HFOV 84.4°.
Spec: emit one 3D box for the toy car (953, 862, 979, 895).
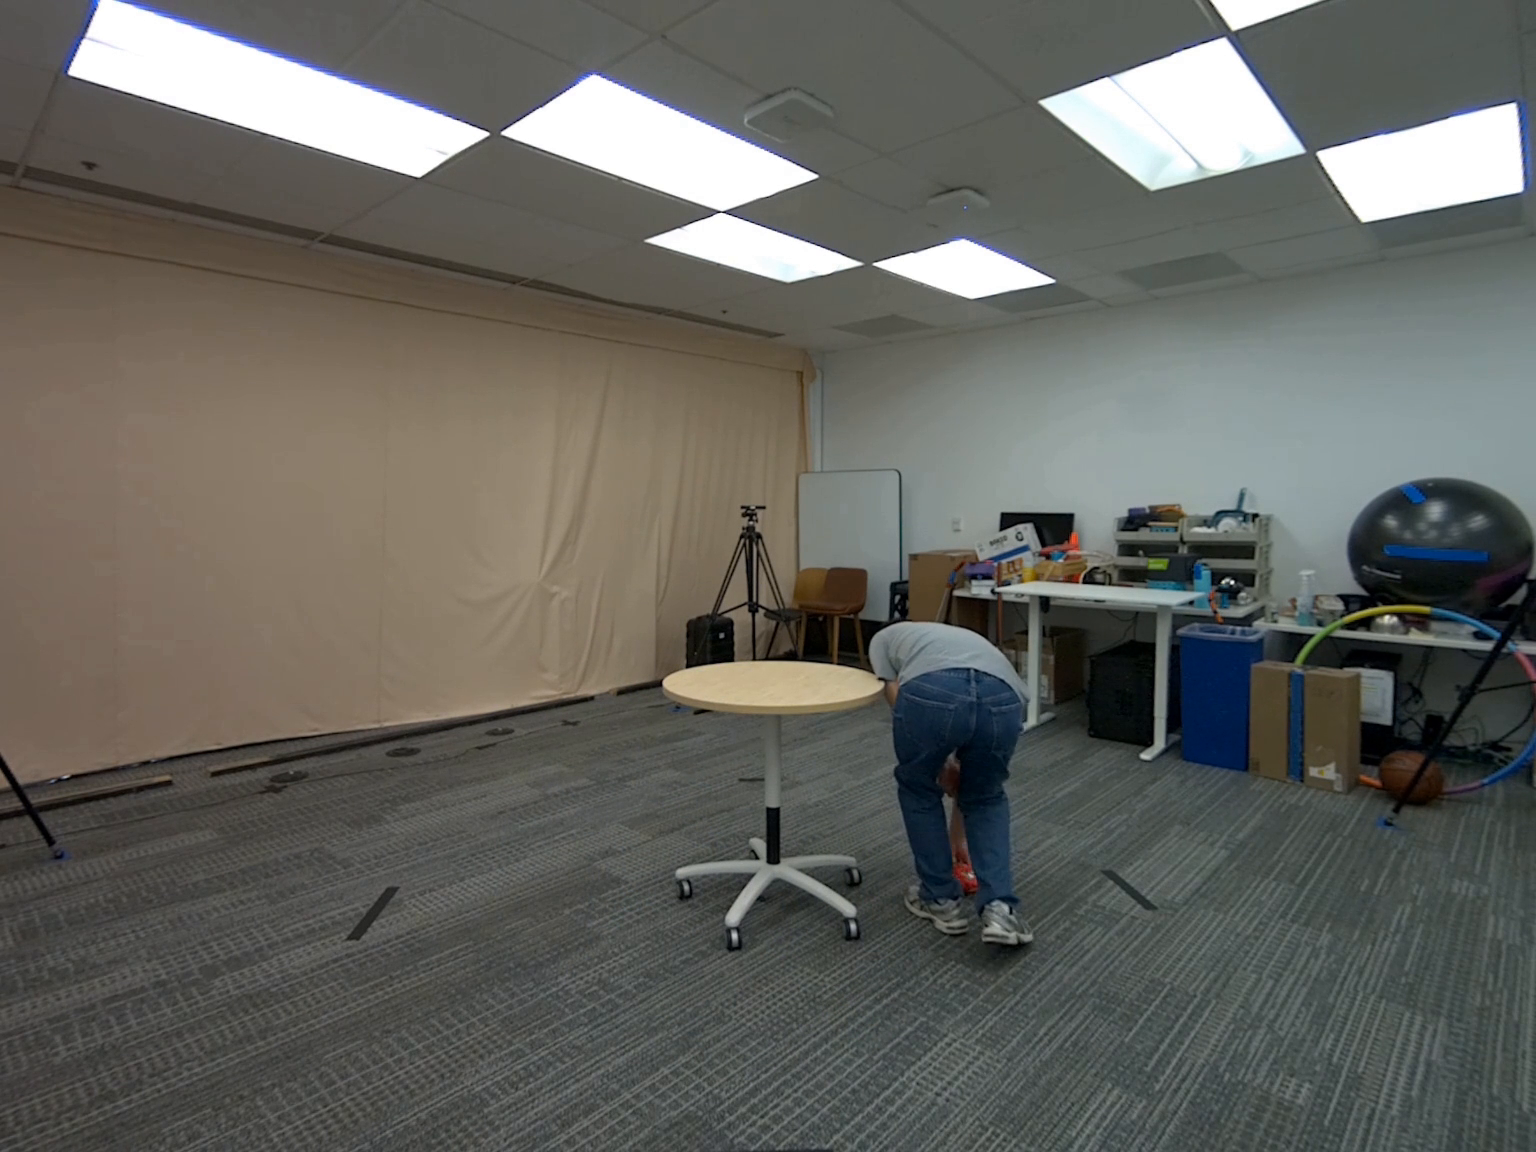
[{"bbox_3d":[0.701,1.105,3.084,0.127,0.083,0.260,-2,-7,-30],"label":"toy car"}]
